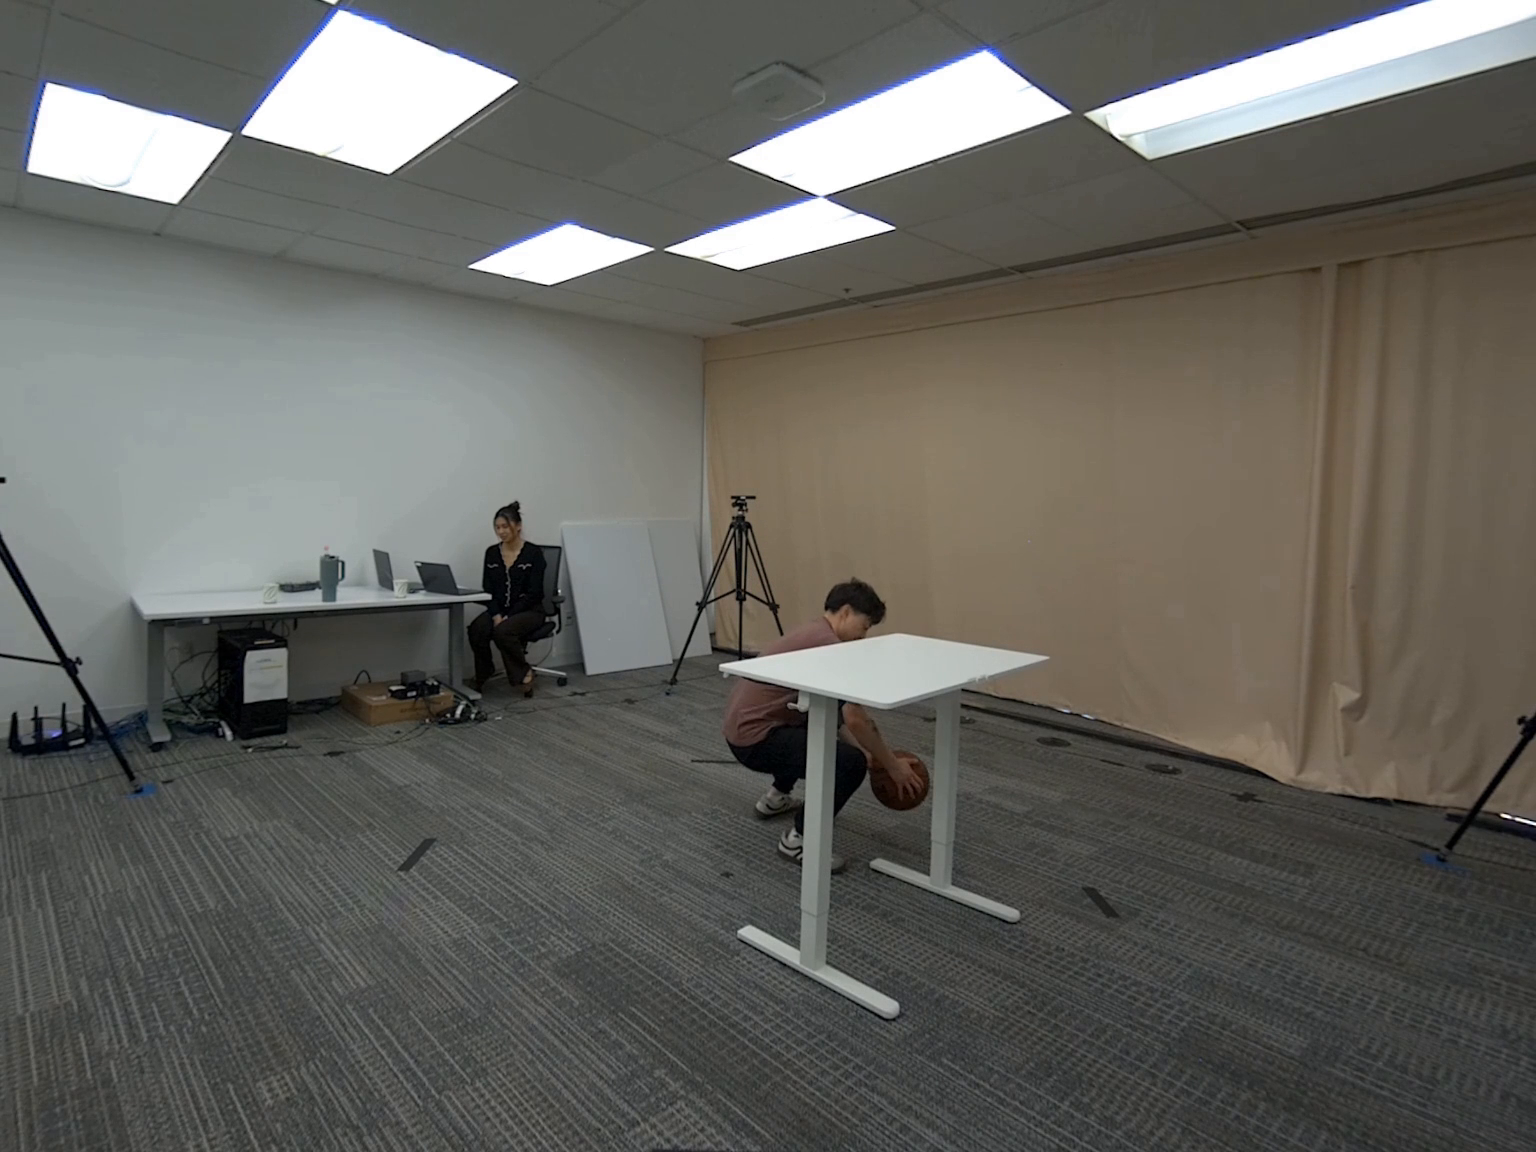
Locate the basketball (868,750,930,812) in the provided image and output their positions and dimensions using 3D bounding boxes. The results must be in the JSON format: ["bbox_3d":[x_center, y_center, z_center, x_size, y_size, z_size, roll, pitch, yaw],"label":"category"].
[{"bbox_3d":[0.515,0.806,3.372,0.236,0.235,0.237,1,4,-1],"label":"basketball"}]
